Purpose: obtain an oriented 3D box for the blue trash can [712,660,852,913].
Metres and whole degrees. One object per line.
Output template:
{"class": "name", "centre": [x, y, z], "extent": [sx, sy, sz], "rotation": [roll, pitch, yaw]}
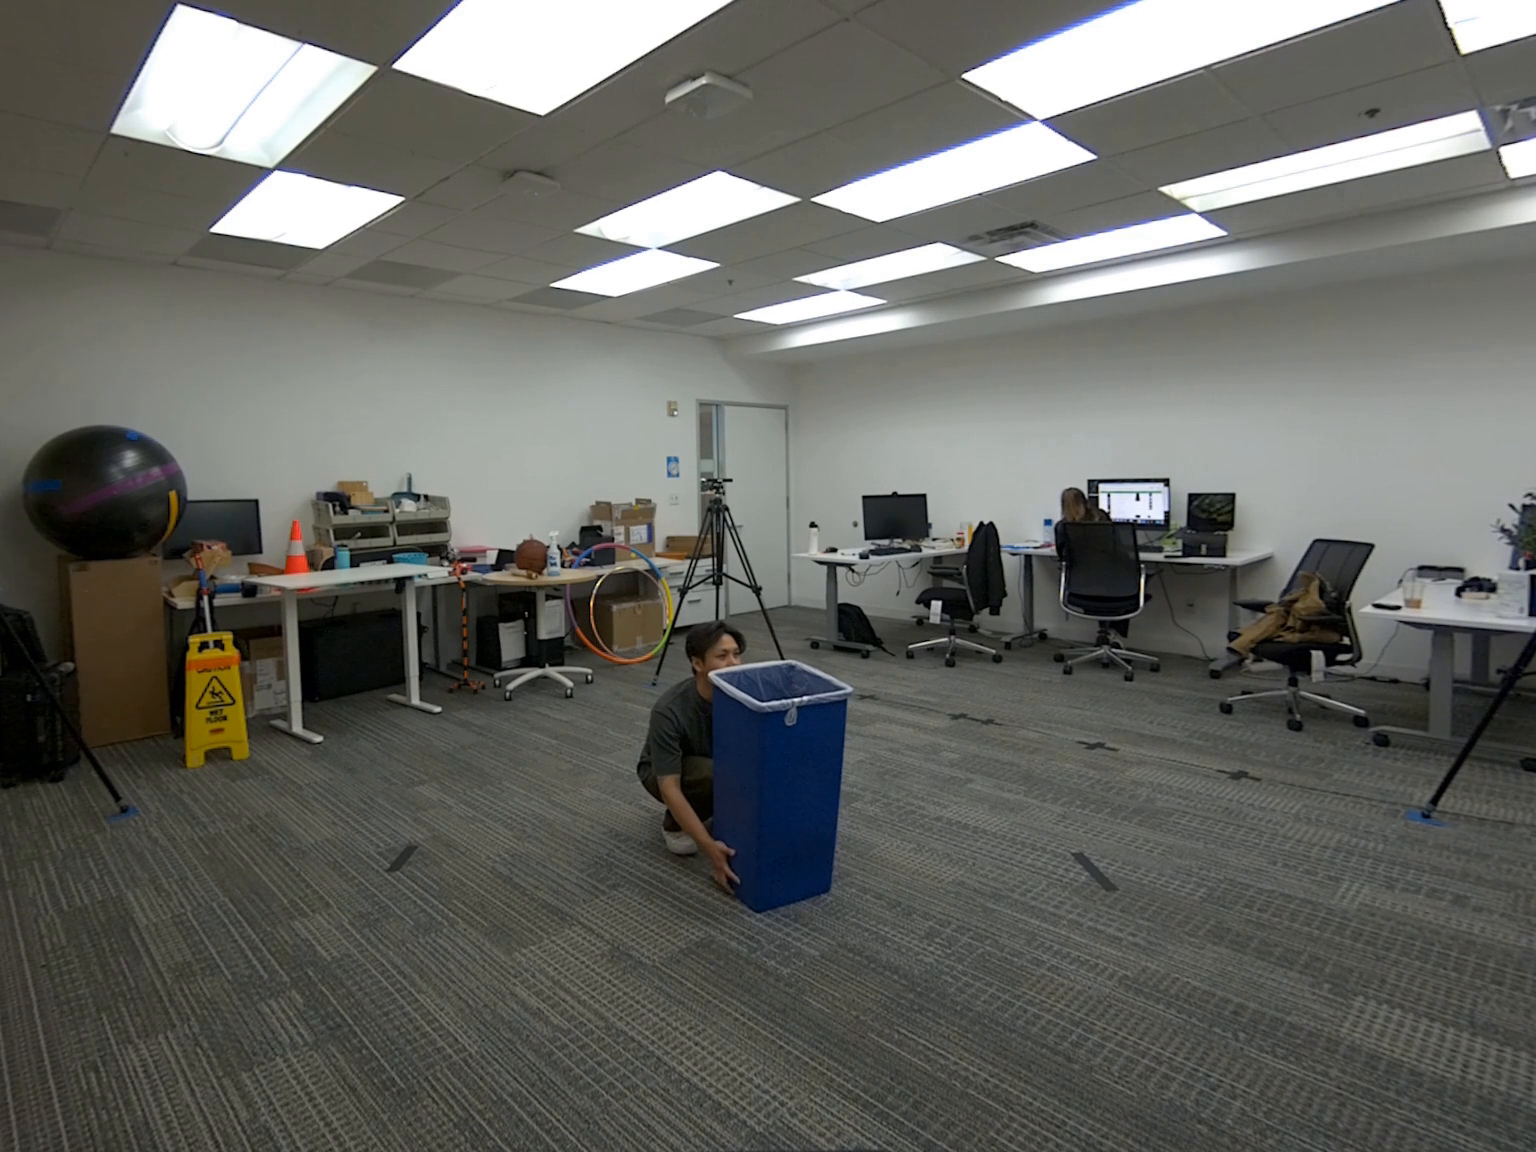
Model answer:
{"class": "blue trash can", "centre": [0.035, 0.695, 2.897], "extent": [0.365, 0.708, 0.390], "rotation": [-4, 10, -30]}
